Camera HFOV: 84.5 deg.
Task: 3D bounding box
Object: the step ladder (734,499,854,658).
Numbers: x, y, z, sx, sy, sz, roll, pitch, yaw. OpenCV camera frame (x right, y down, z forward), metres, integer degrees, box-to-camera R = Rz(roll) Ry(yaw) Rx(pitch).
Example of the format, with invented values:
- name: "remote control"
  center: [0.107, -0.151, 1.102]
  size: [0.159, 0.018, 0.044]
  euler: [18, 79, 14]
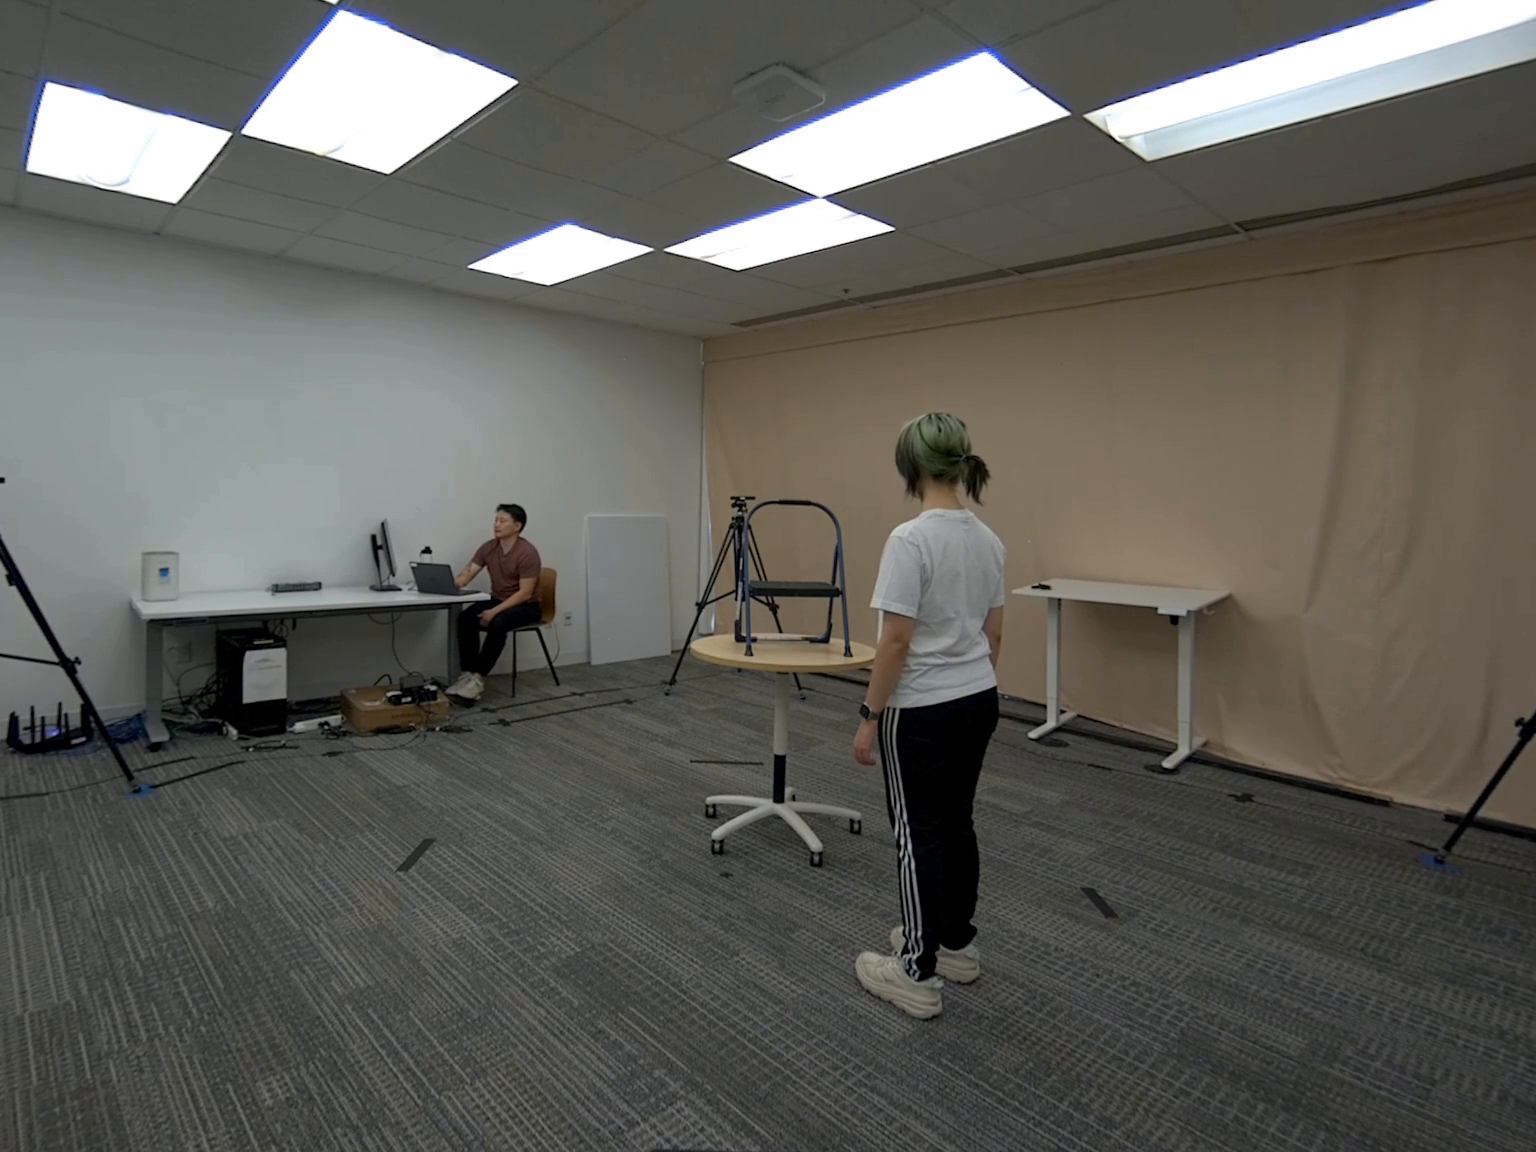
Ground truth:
- name: "step ladder"
  center: [0.094, -0.004, 3.422]
  size: [0.427, 0.605, 0.353]
  euler: [1, 3, -10]
